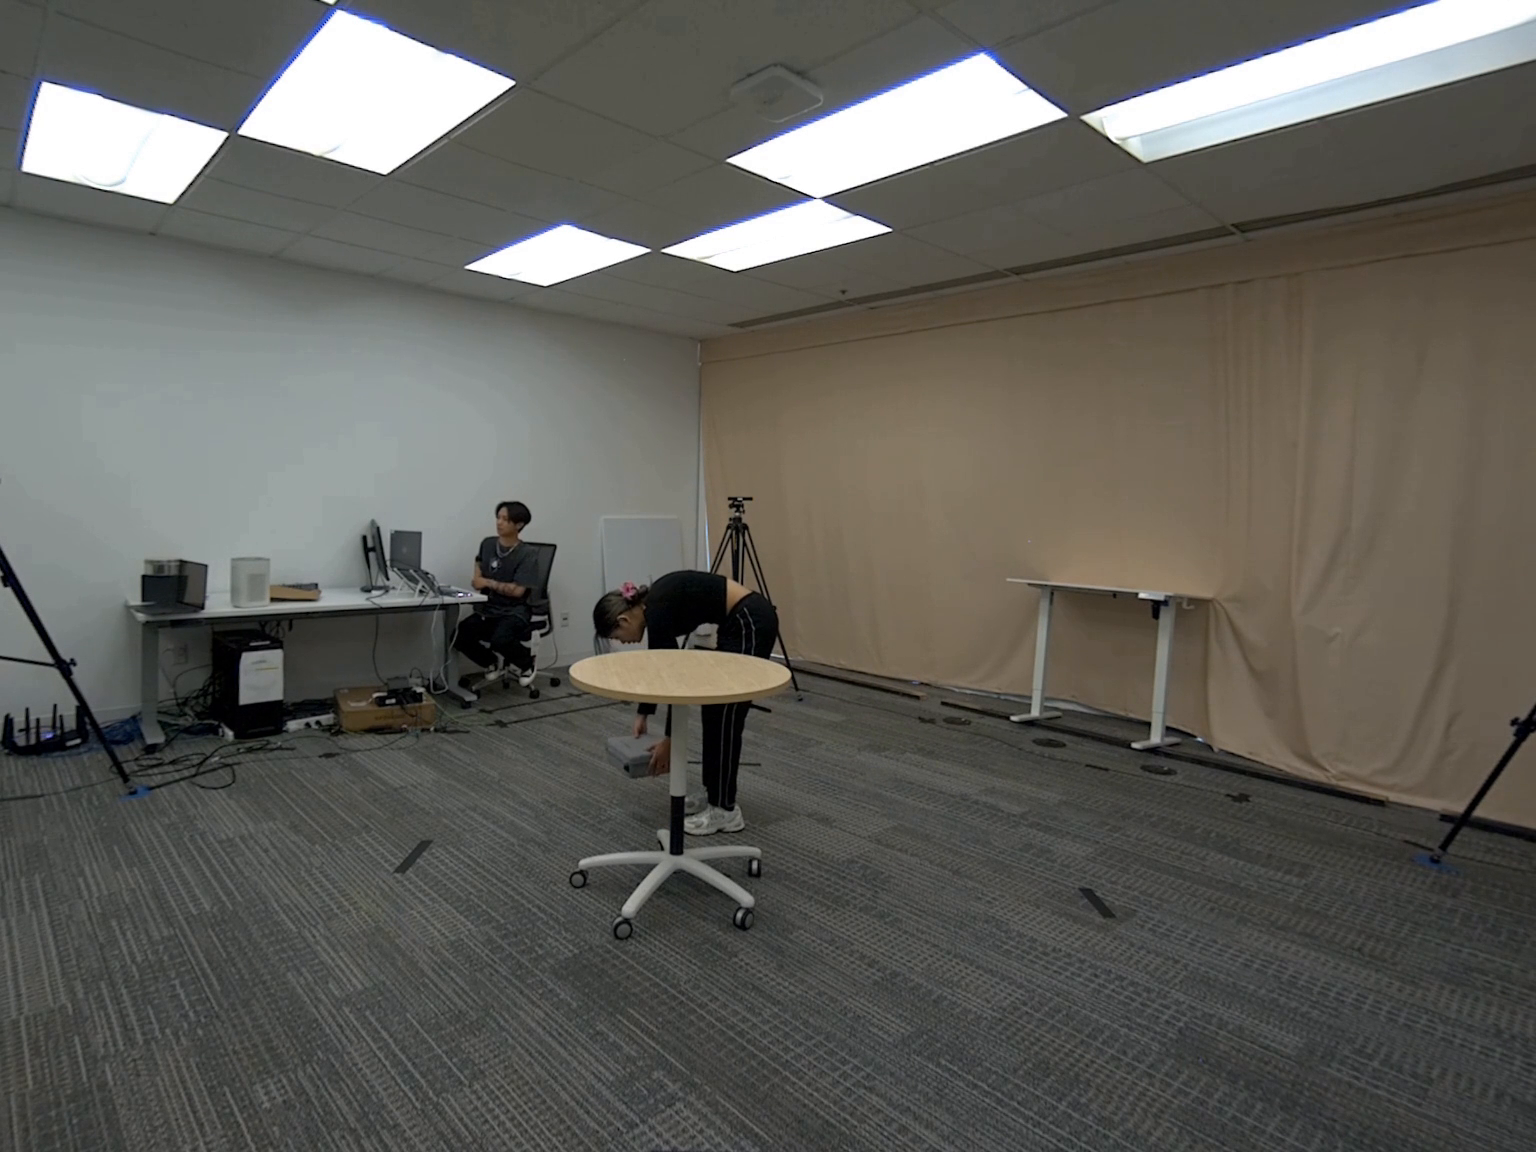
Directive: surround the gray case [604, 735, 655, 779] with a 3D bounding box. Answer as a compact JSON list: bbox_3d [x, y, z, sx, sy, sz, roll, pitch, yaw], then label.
[{"bbox_3d":[-0.548,0.764,3.619,0.255,0.104,0.264,-2,9,-36],"label":"gray case"}]
